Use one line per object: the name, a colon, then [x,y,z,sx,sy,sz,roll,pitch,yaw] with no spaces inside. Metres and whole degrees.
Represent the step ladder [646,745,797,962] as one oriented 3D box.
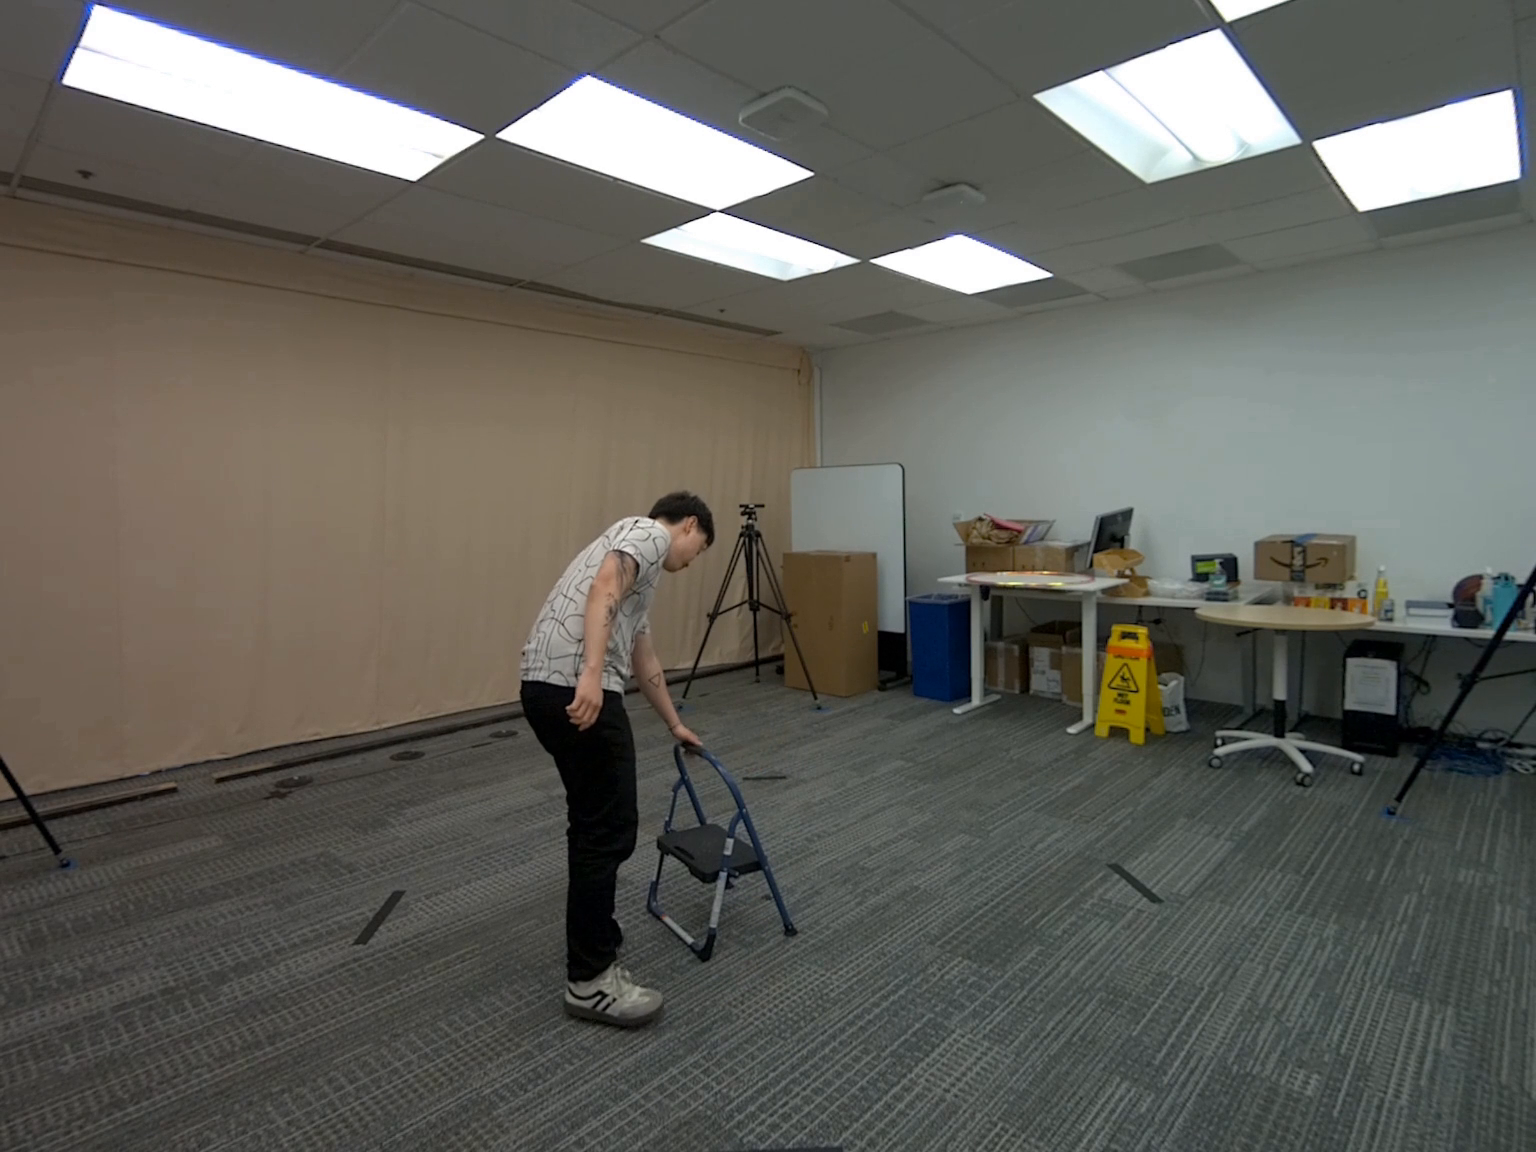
step ladder: [-0.171,0.852,2.808,0.340,0.604,0.444,-4,5,-33]
